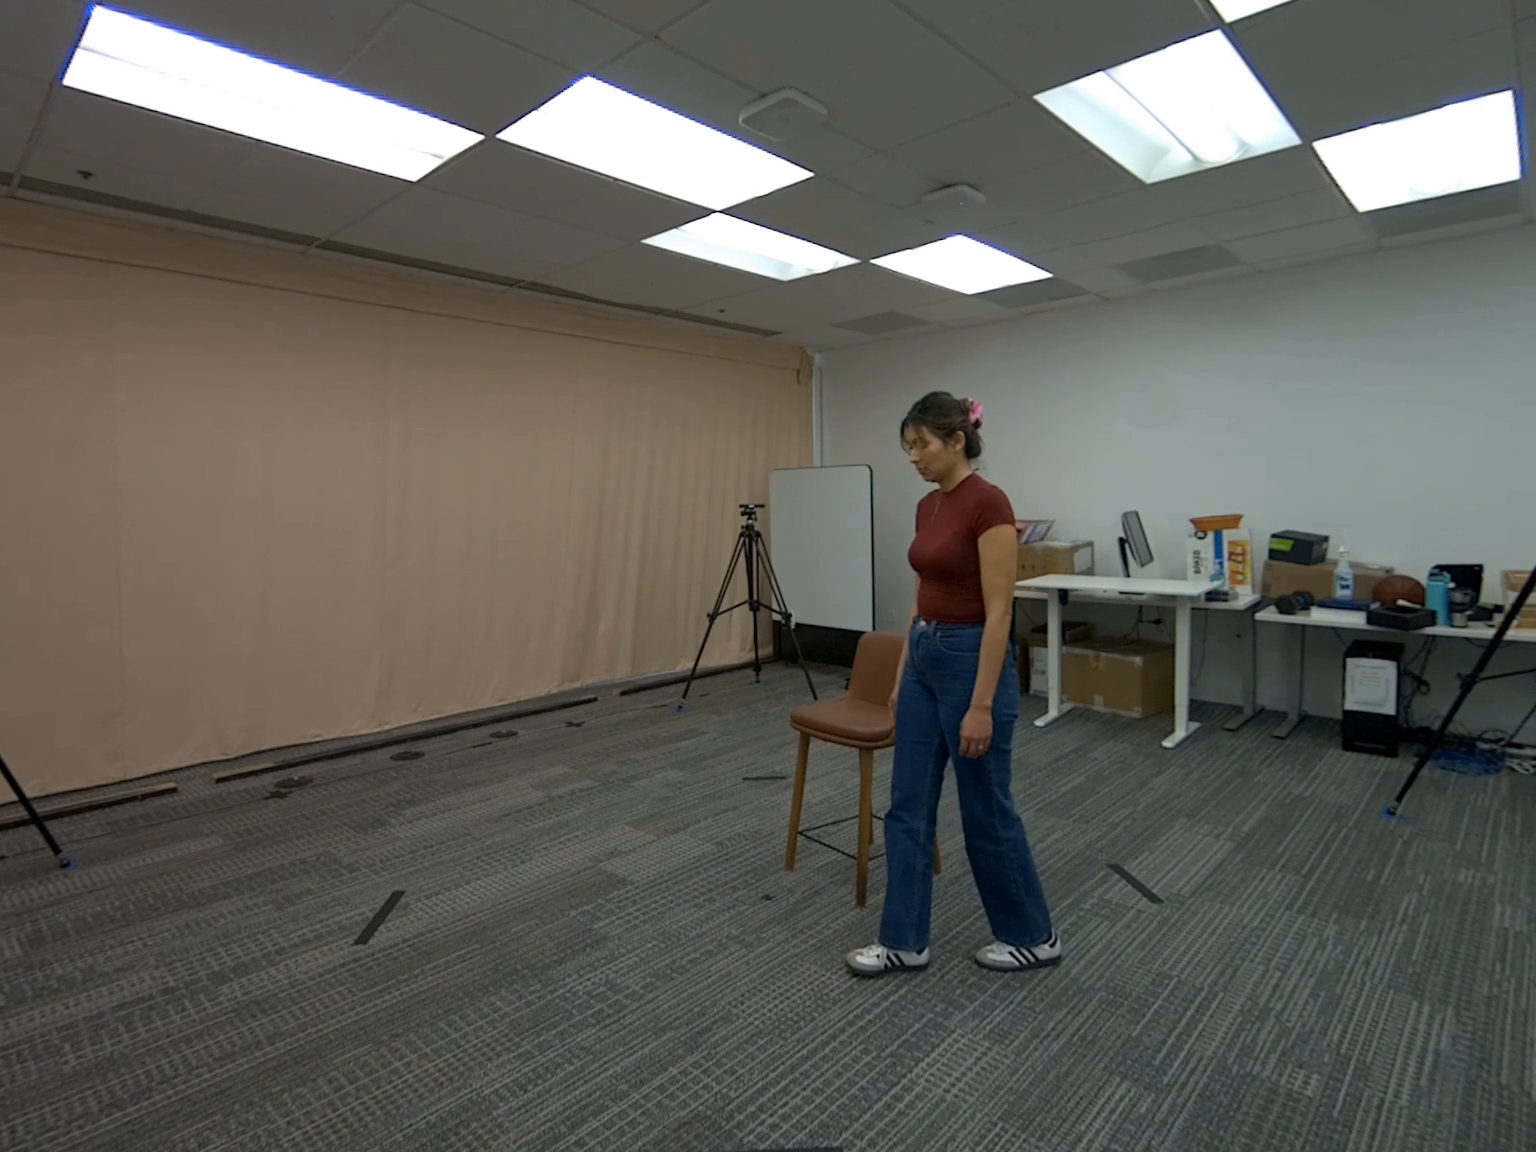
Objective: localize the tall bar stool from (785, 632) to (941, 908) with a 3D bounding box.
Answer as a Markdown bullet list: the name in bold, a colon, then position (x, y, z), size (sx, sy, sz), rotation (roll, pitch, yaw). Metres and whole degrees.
- **tall bar stool**: position (0.365, 0.684, 3.165), size (0.453, 0.888, 0.471), rotation (-1, 3, -39)
